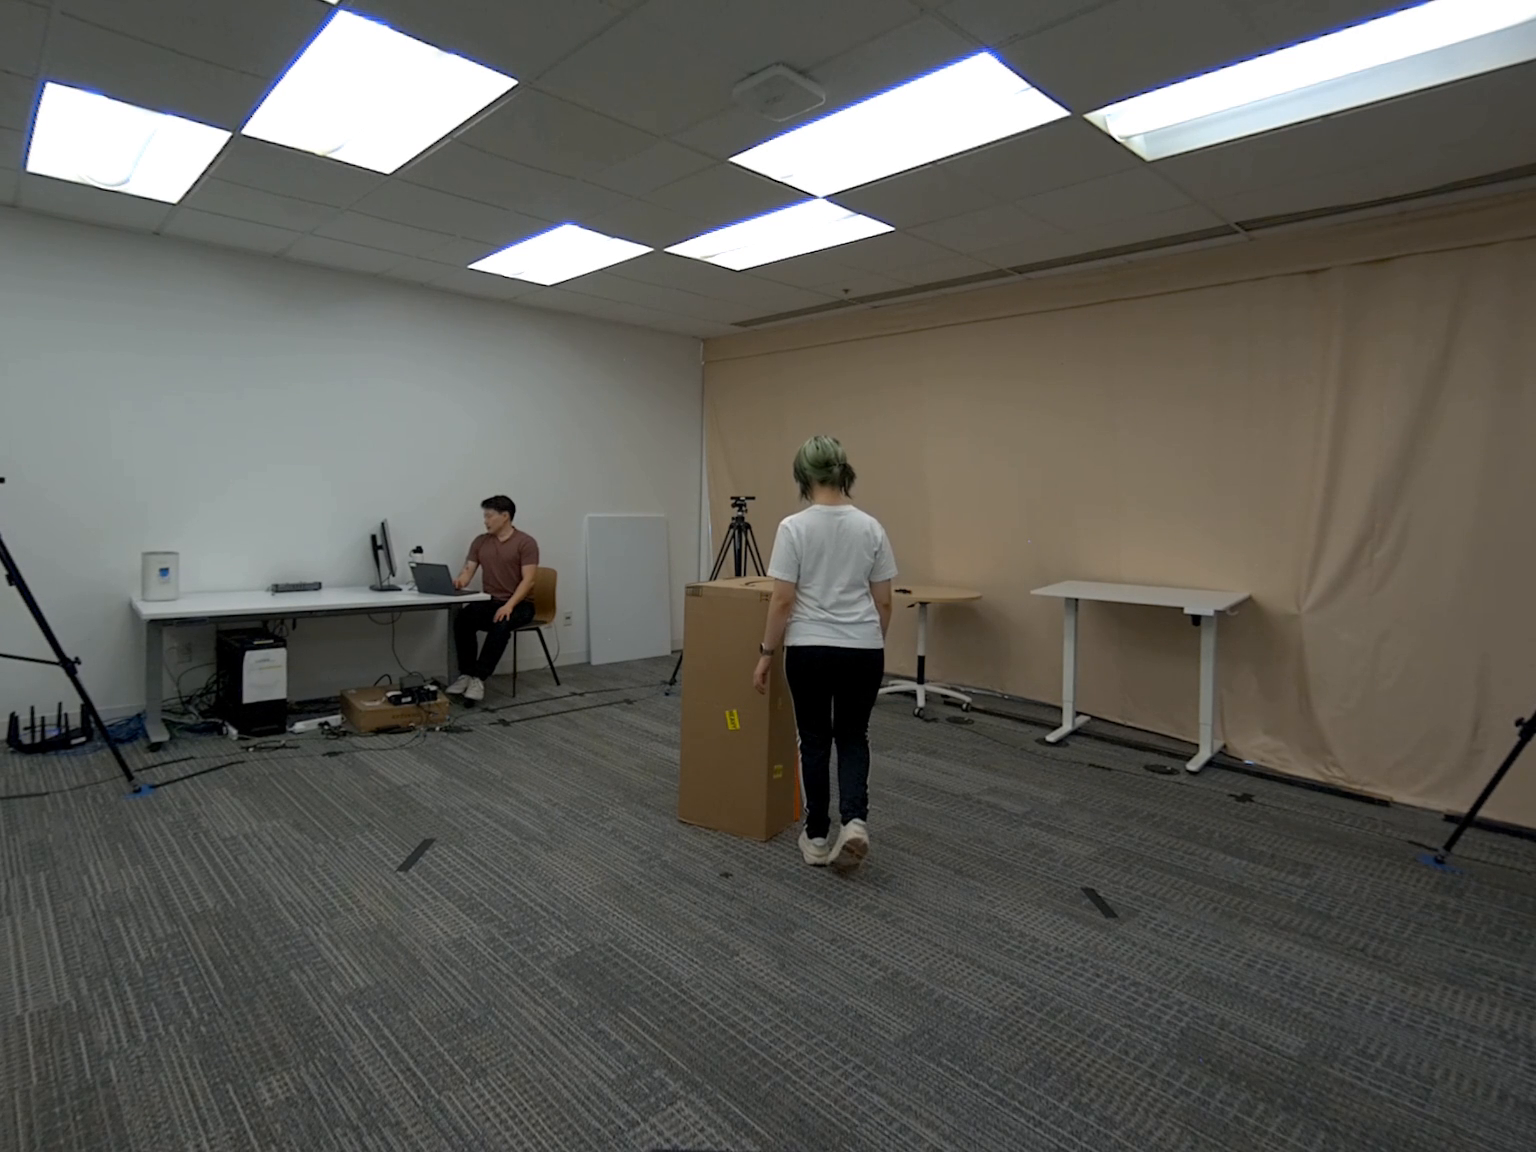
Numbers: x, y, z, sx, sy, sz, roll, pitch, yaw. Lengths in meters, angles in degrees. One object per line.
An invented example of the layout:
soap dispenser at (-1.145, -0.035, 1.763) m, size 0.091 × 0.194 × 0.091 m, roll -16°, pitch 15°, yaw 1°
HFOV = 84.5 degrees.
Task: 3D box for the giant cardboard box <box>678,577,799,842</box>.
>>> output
giant cardboard box at (-0.064, 0.542, 3.743) m, size 0.435 × 1.024 × 0.566 m, roll 3°, pitch 3°, yaw 28°
